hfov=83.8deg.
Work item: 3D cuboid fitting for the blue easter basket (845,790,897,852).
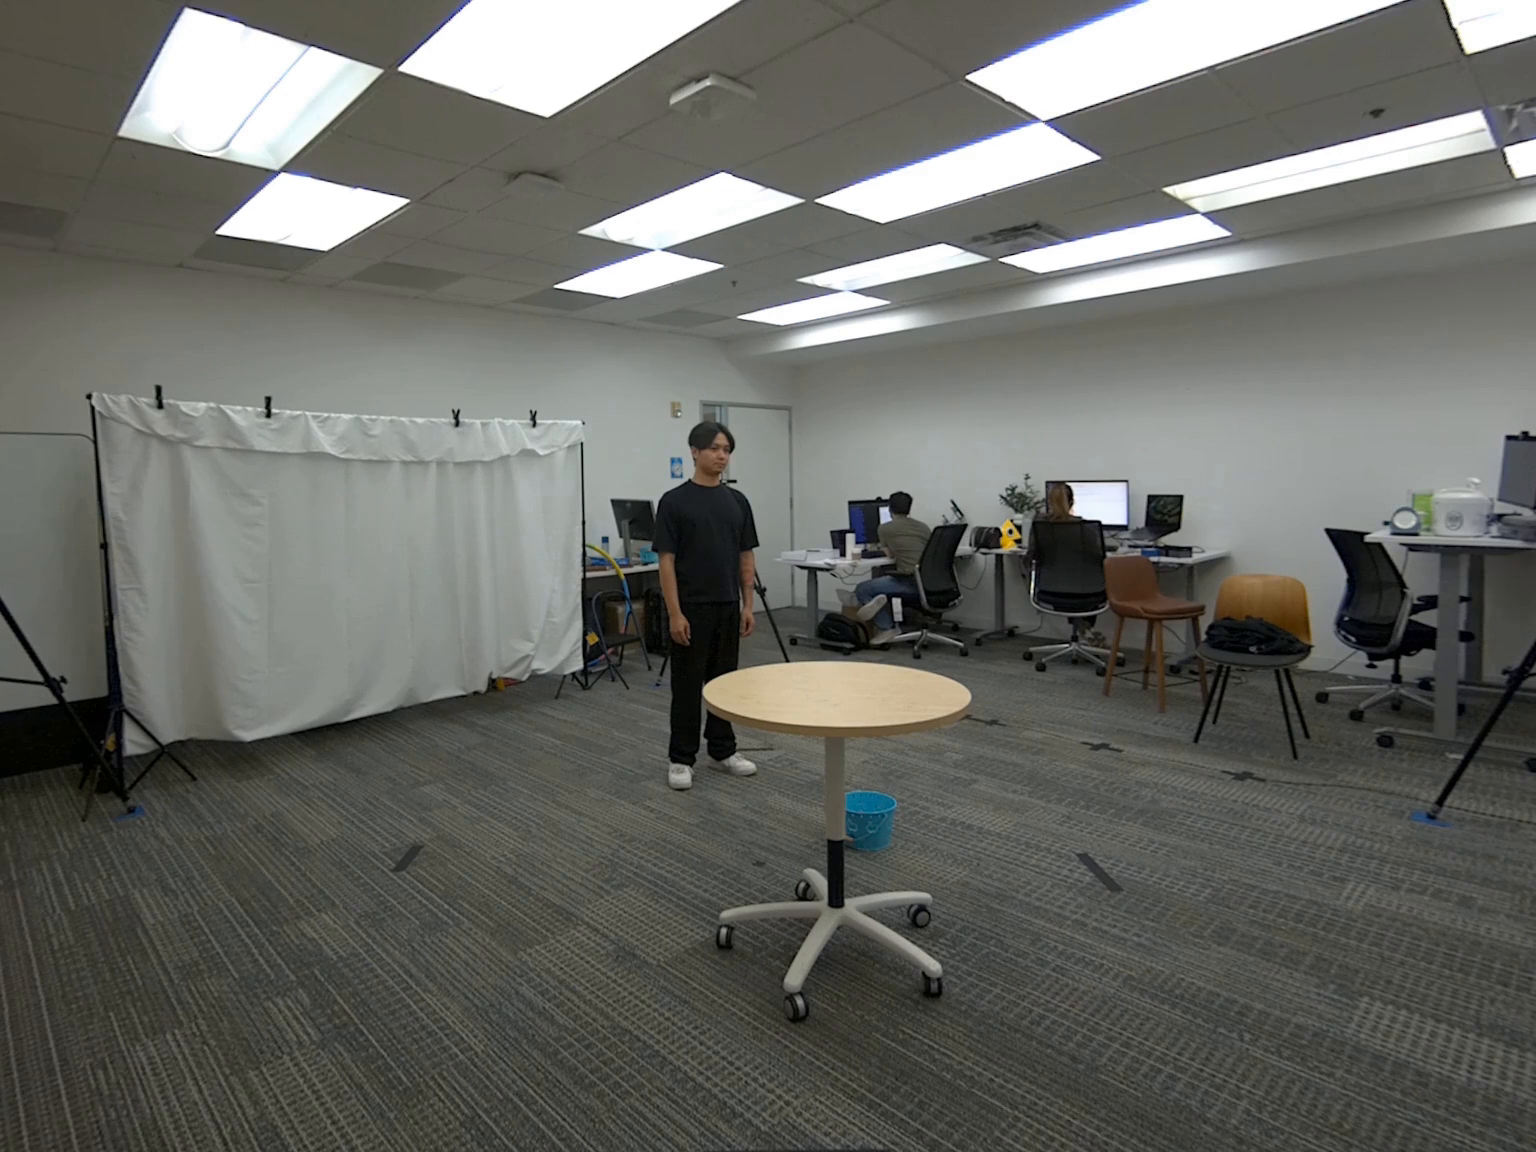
[{"bbox_3d":[0.375,0.941,3.291,0.243,0.155,0.245,-2,5,-2],"label":"blue easter basket"}]
